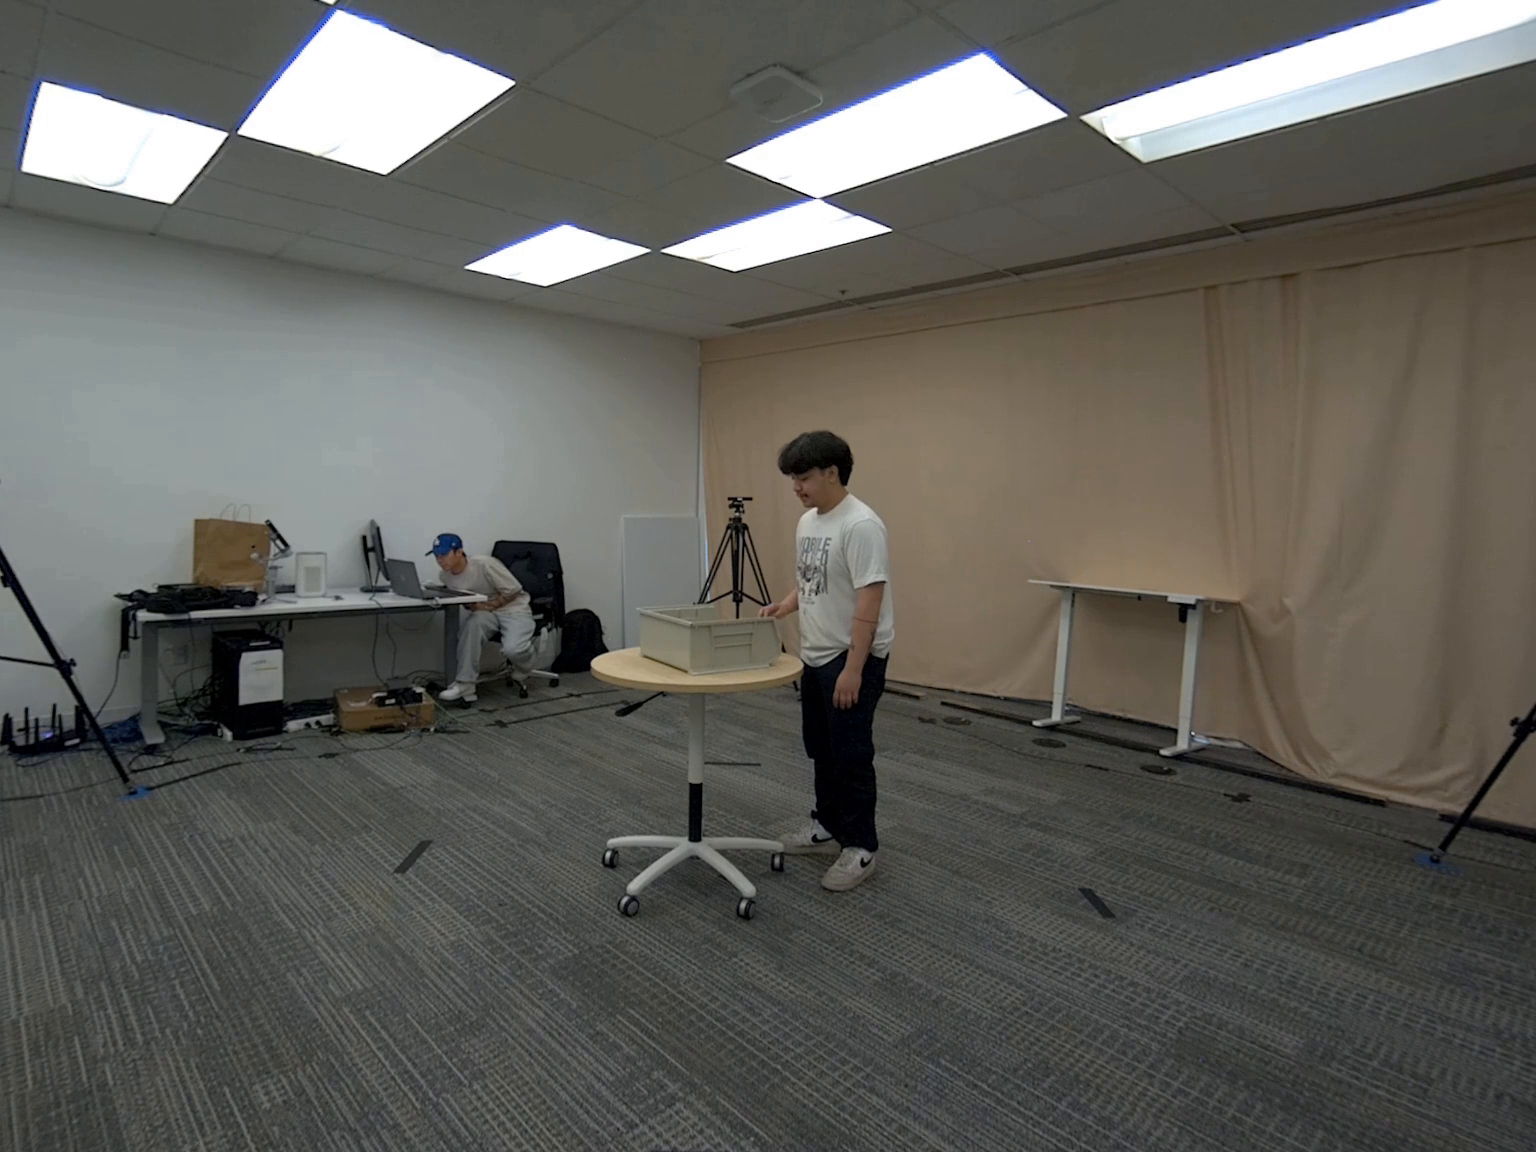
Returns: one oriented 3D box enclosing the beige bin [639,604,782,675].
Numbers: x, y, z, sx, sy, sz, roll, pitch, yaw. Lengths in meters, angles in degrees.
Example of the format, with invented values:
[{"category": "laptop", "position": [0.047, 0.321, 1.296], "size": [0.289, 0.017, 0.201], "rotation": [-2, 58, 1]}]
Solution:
[{"category": "beige bin", "position": [-0.225, 0.219, 3.062], "size": [0.369, 0.188, 0.433], "rotation": [-4, 8, -34]}]
